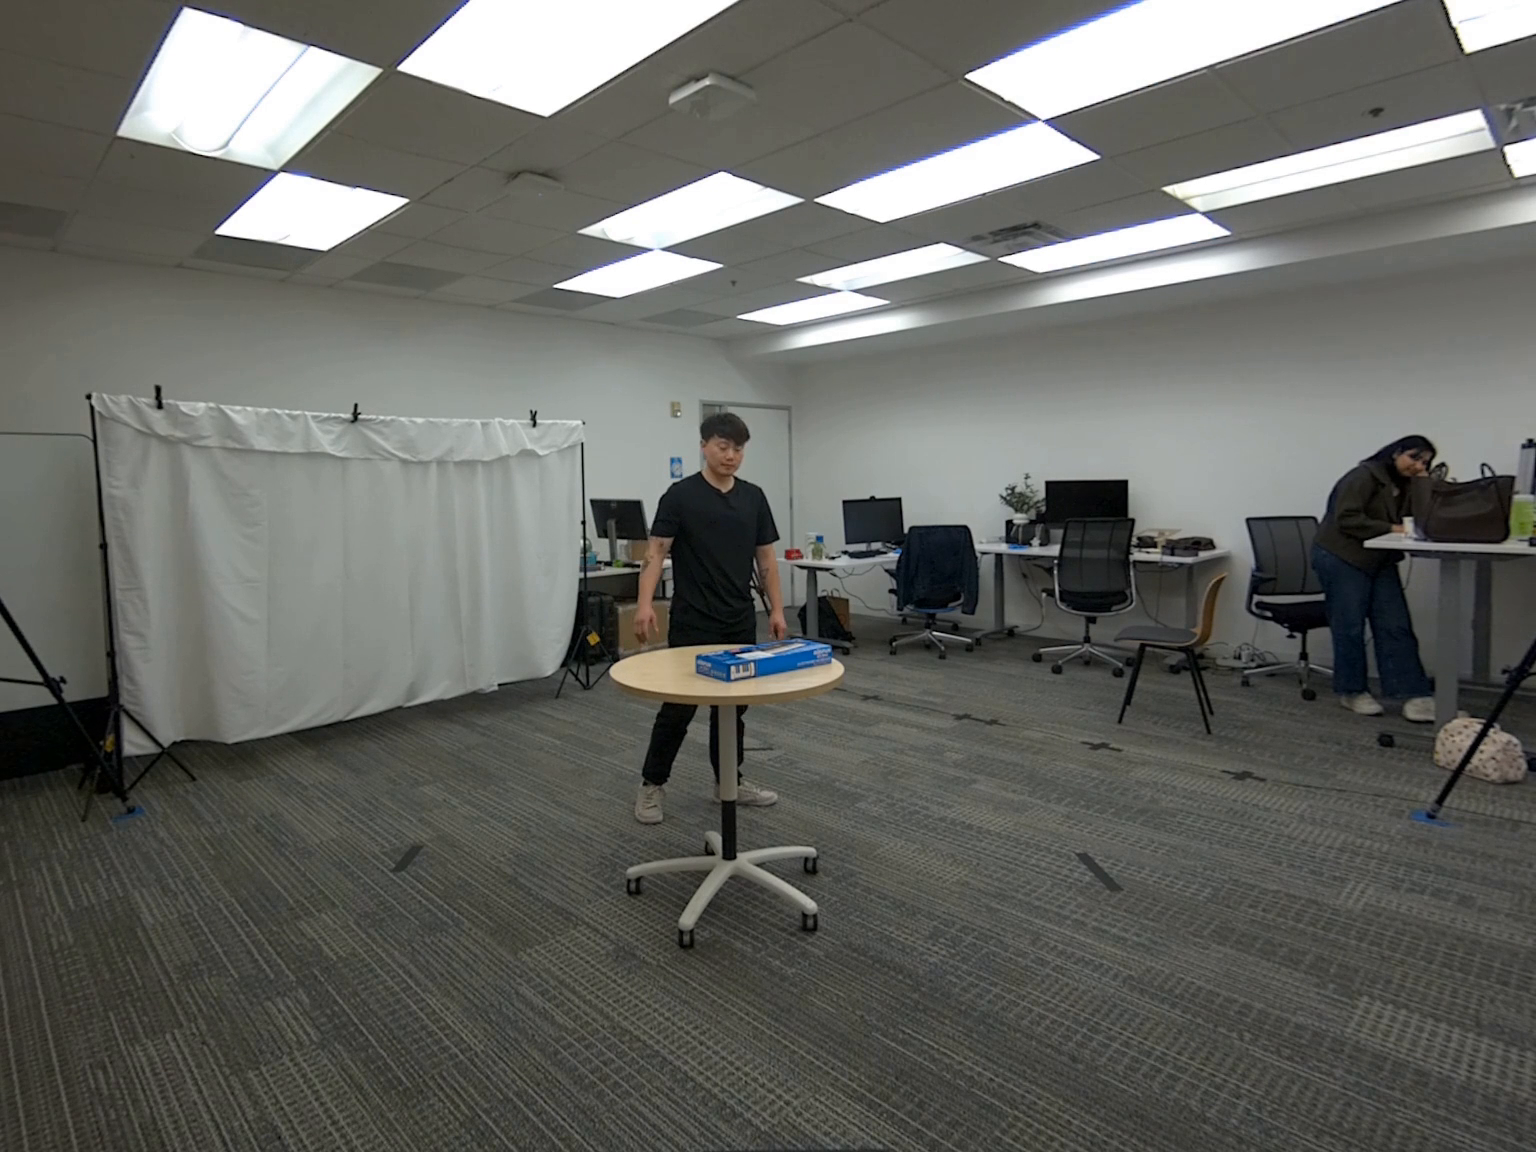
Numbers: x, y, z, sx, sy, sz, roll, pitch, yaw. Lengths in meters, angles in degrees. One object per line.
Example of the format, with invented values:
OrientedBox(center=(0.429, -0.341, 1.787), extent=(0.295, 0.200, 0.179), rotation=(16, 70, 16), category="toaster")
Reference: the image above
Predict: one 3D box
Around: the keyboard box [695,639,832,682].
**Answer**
OrientedBox(center=(-0.008, 0.273, 2.779), extent=(0.426, 0.059, 0.181), rotation=(-6, 8, -38), category="keyboard box")
